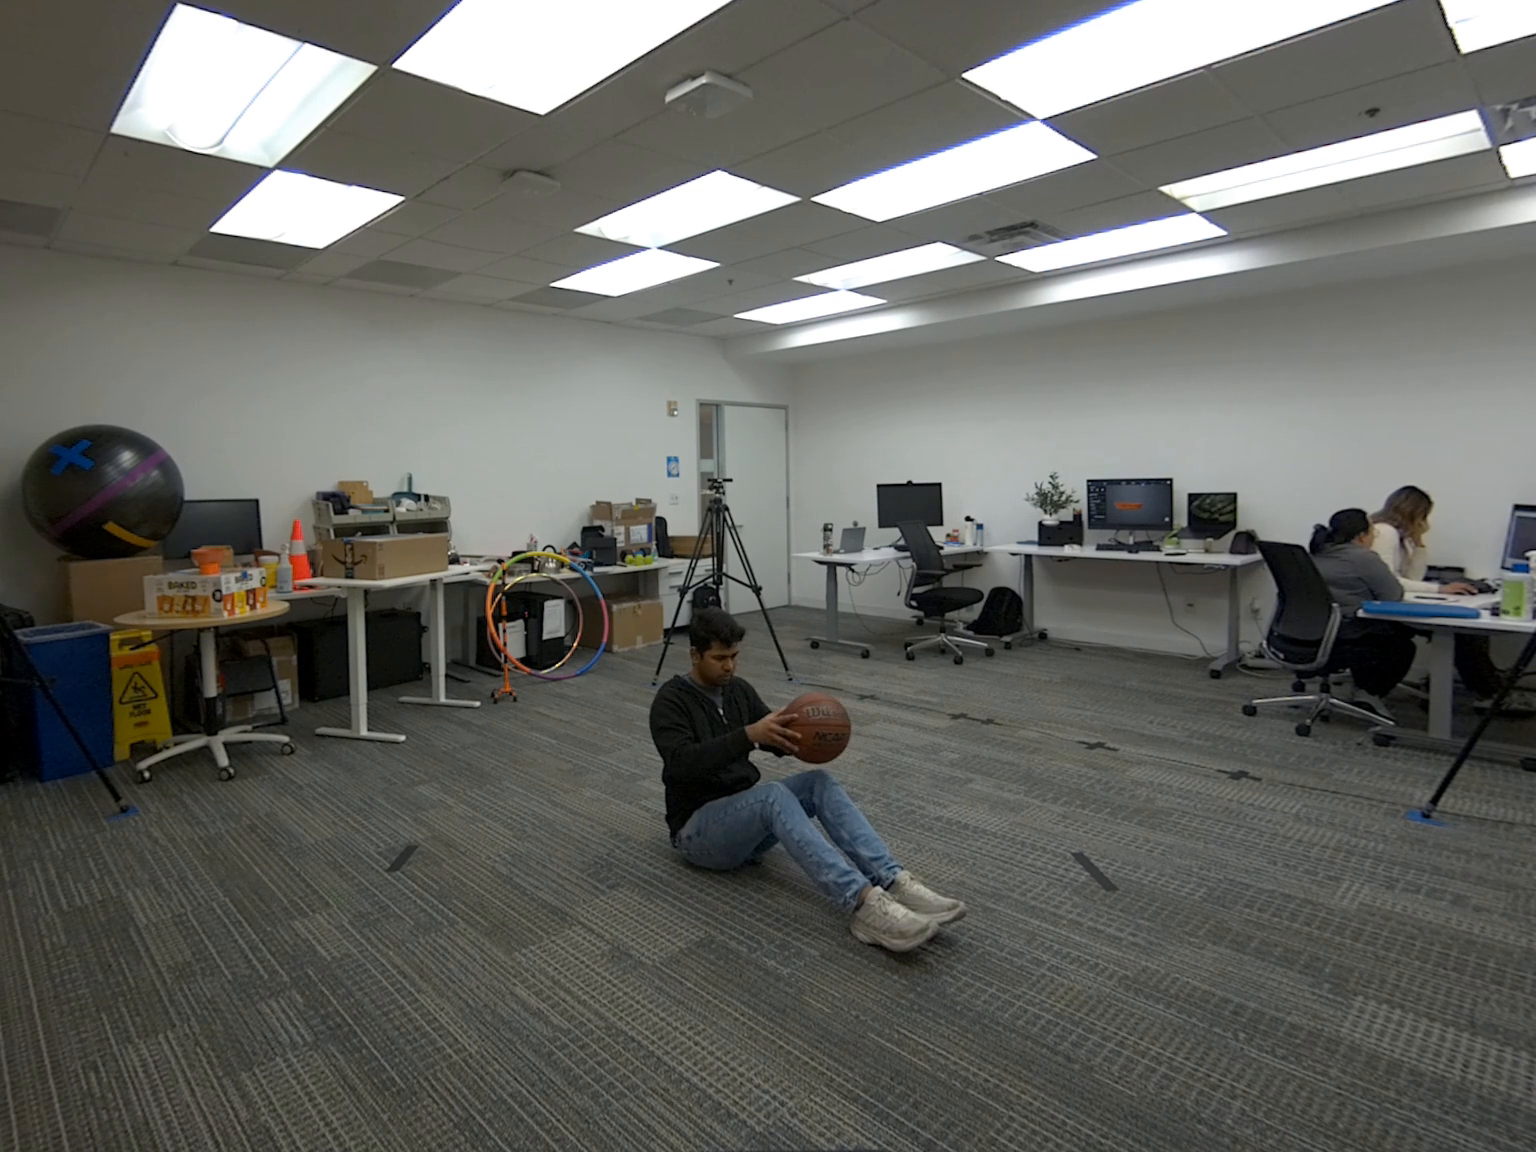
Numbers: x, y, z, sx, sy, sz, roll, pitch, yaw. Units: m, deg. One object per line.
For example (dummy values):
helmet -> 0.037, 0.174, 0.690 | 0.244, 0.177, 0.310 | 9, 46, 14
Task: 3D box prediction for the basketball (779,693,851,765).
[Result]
basketball -> 0.154, 0.529, 2.932 | 0.236, 0.235, 0.237 | -1, 5, -2
